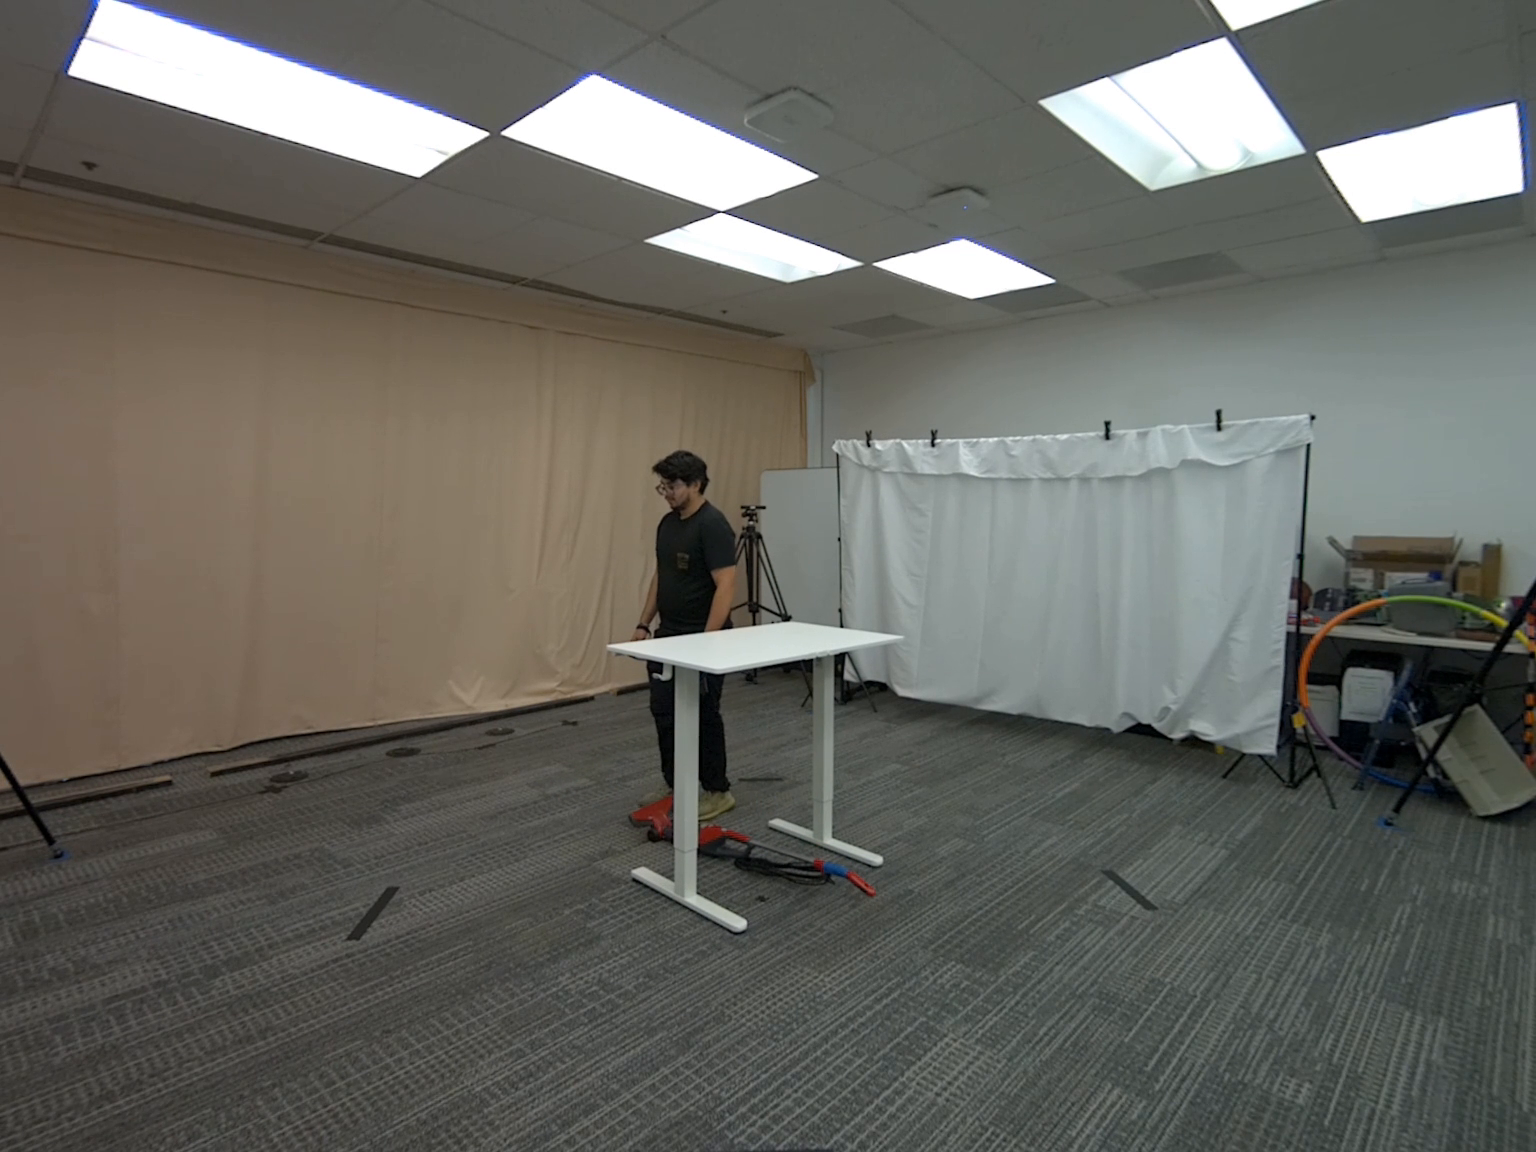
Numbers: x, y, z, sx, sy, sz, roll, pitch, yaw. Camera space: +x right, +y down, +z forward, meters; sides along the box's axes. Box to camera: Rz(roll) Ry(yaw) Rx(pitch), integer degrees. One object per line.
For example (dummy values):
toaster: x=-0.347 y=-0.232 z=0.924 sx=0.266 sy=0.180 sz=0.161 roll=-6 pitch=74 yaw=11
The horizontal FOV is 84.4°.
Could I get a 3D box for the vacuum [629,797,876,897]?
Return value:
vacuum: x=-0.064 y=1.064 z=3.222 sx=1.084 sy=0.143 sz=0.245 roll=5 pitch=7 yaw=40
